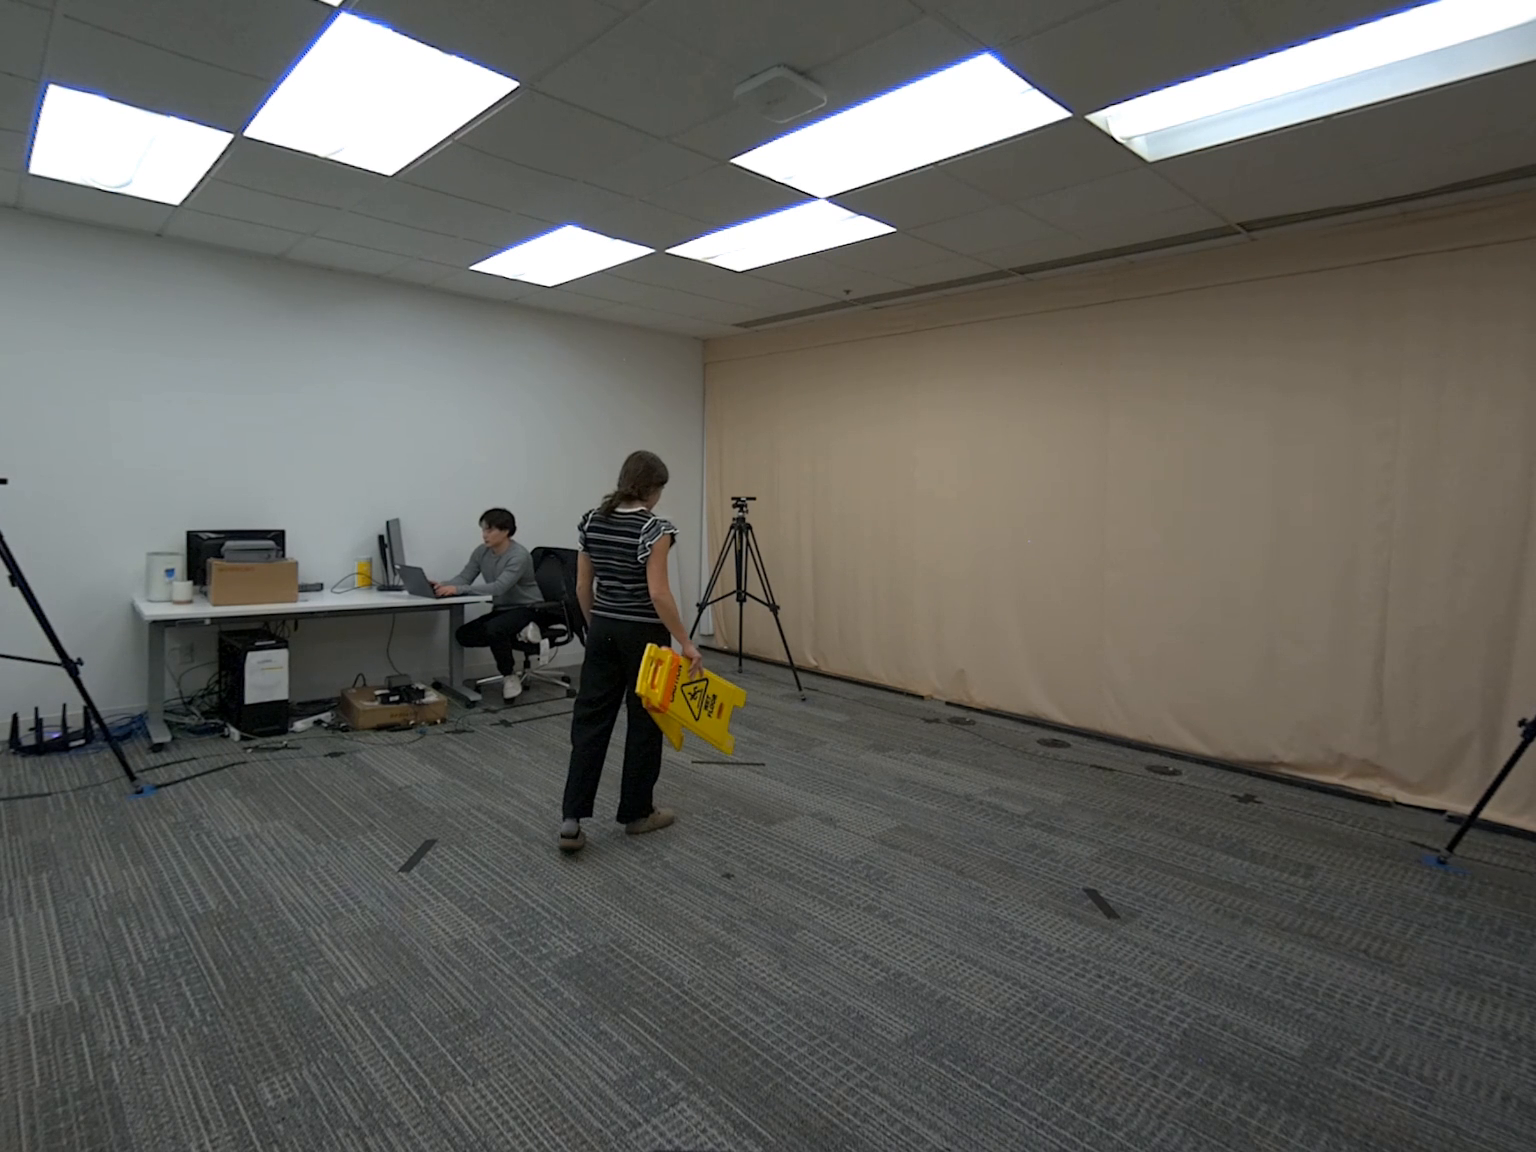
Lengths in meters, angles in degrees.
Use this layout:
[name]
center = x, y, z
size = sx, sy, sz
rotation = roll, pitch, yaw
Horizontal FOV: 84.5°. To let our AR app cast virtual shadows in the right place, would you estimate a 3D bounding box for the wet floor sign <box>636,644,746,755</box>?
[wet floor sign]
center = -0.353, 0.483, 3.348
size = 0.295, 0.286, 0.627
rotation = 0, -26, 22
